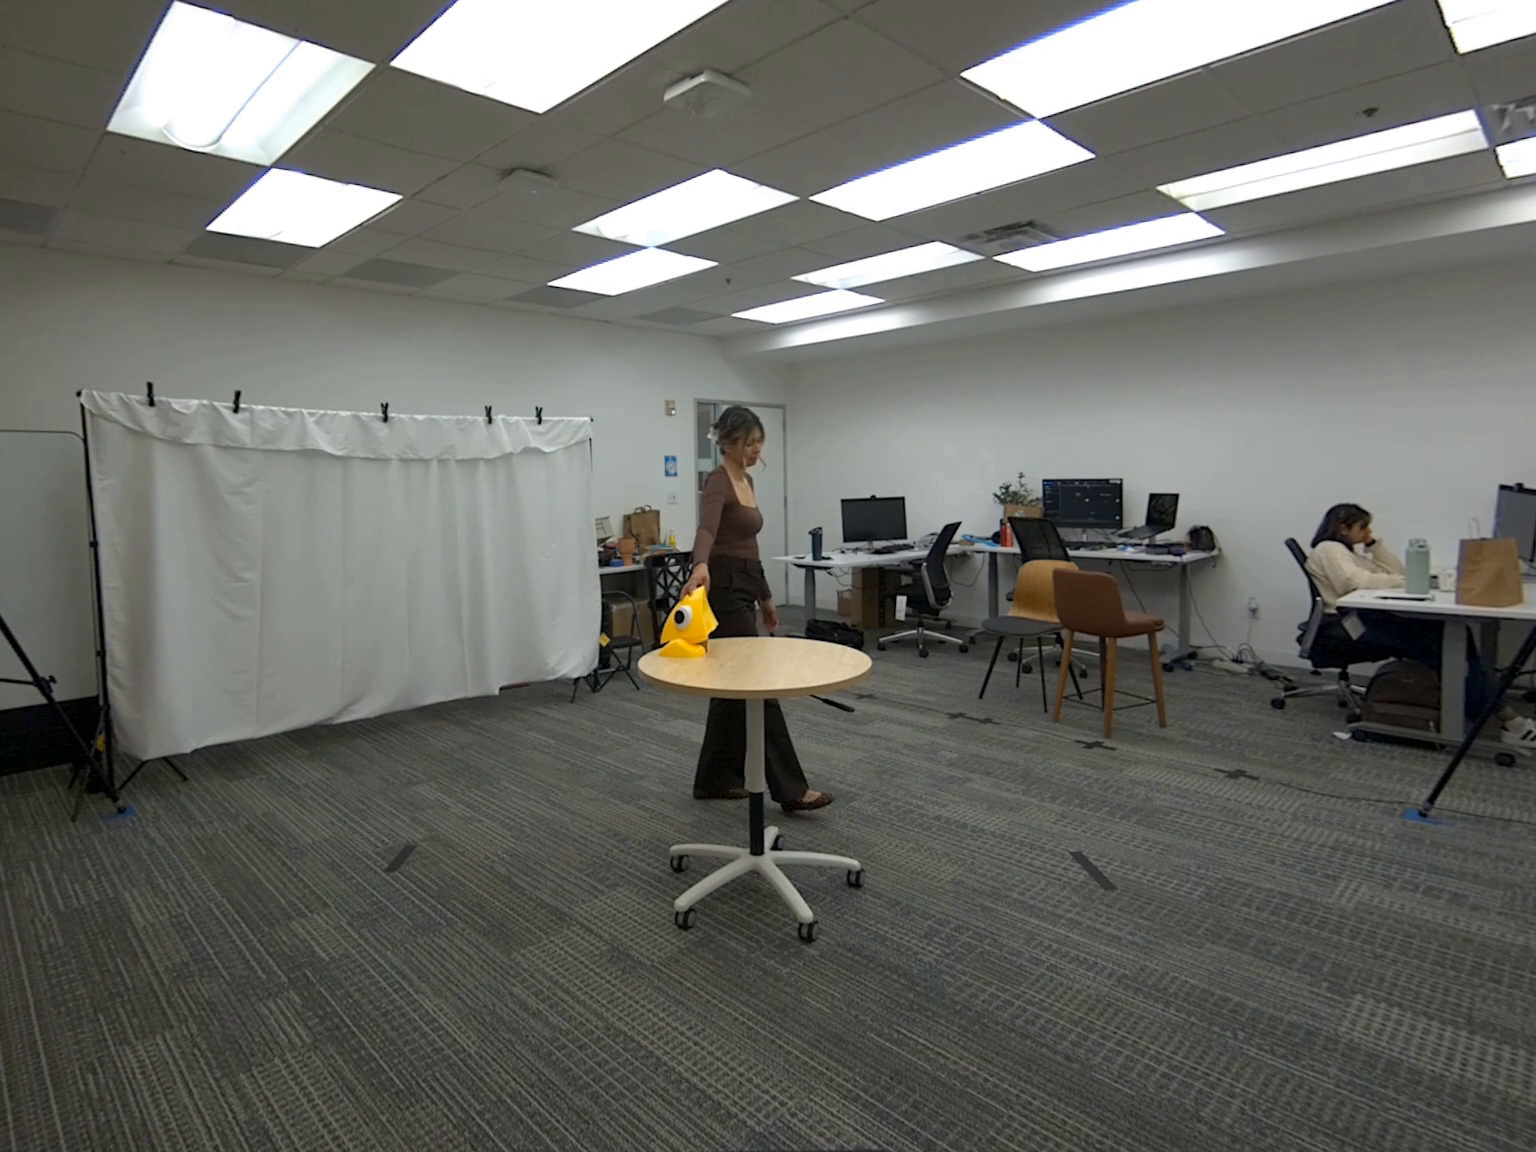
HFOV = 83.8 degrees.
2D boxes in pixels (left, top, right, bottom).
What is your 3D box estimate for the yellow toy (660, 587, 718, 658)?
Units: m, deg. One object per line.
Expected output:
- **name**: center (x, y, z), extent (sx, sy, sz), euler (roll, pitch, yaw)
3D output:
- **yellow toy**: center (-0.280, 0.149, 2.962), extent (0.195, 0.230, 0.203), euler (1, 5, 9)
